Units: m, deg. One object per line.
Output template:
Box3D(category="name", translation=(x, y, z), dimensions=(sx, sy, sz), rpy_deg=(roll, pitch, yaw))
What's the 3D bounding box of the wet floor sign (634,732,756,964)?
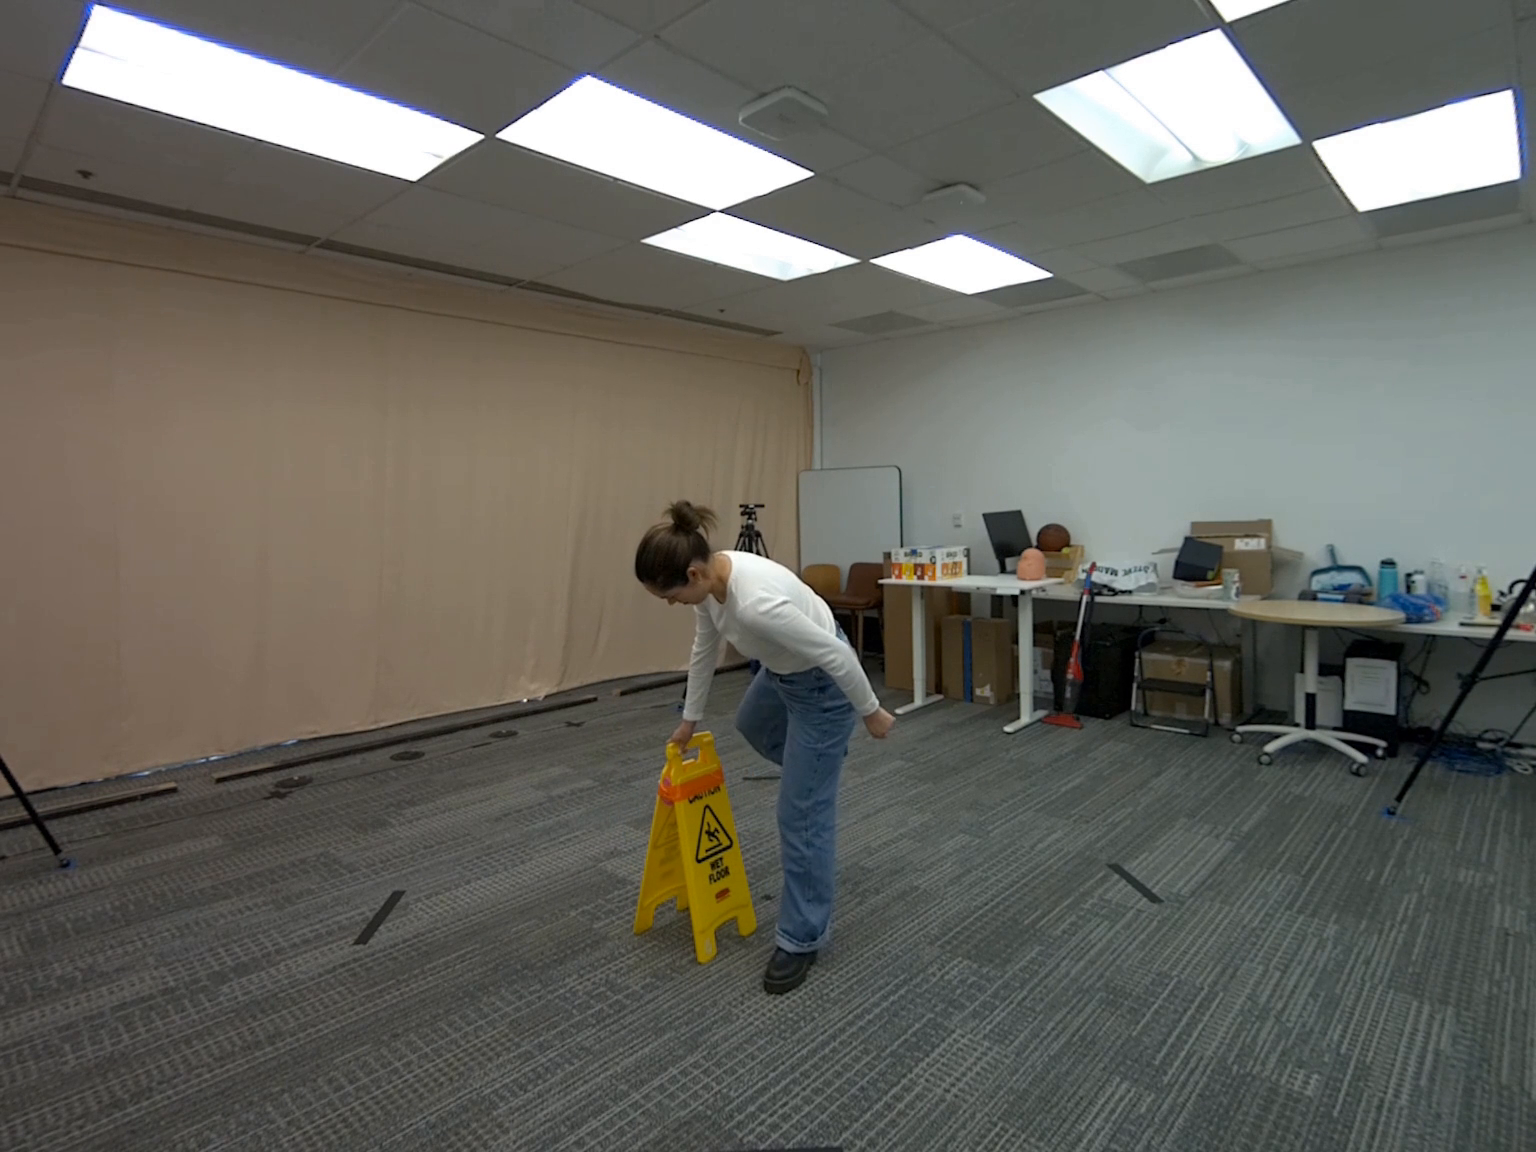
Box3D(category="wet floor sign", translation=(-0.246, 0.845, 2.737), dimensions=(0.299, 0.645, 0.274), rpy_deg=(1, 4, 40))
